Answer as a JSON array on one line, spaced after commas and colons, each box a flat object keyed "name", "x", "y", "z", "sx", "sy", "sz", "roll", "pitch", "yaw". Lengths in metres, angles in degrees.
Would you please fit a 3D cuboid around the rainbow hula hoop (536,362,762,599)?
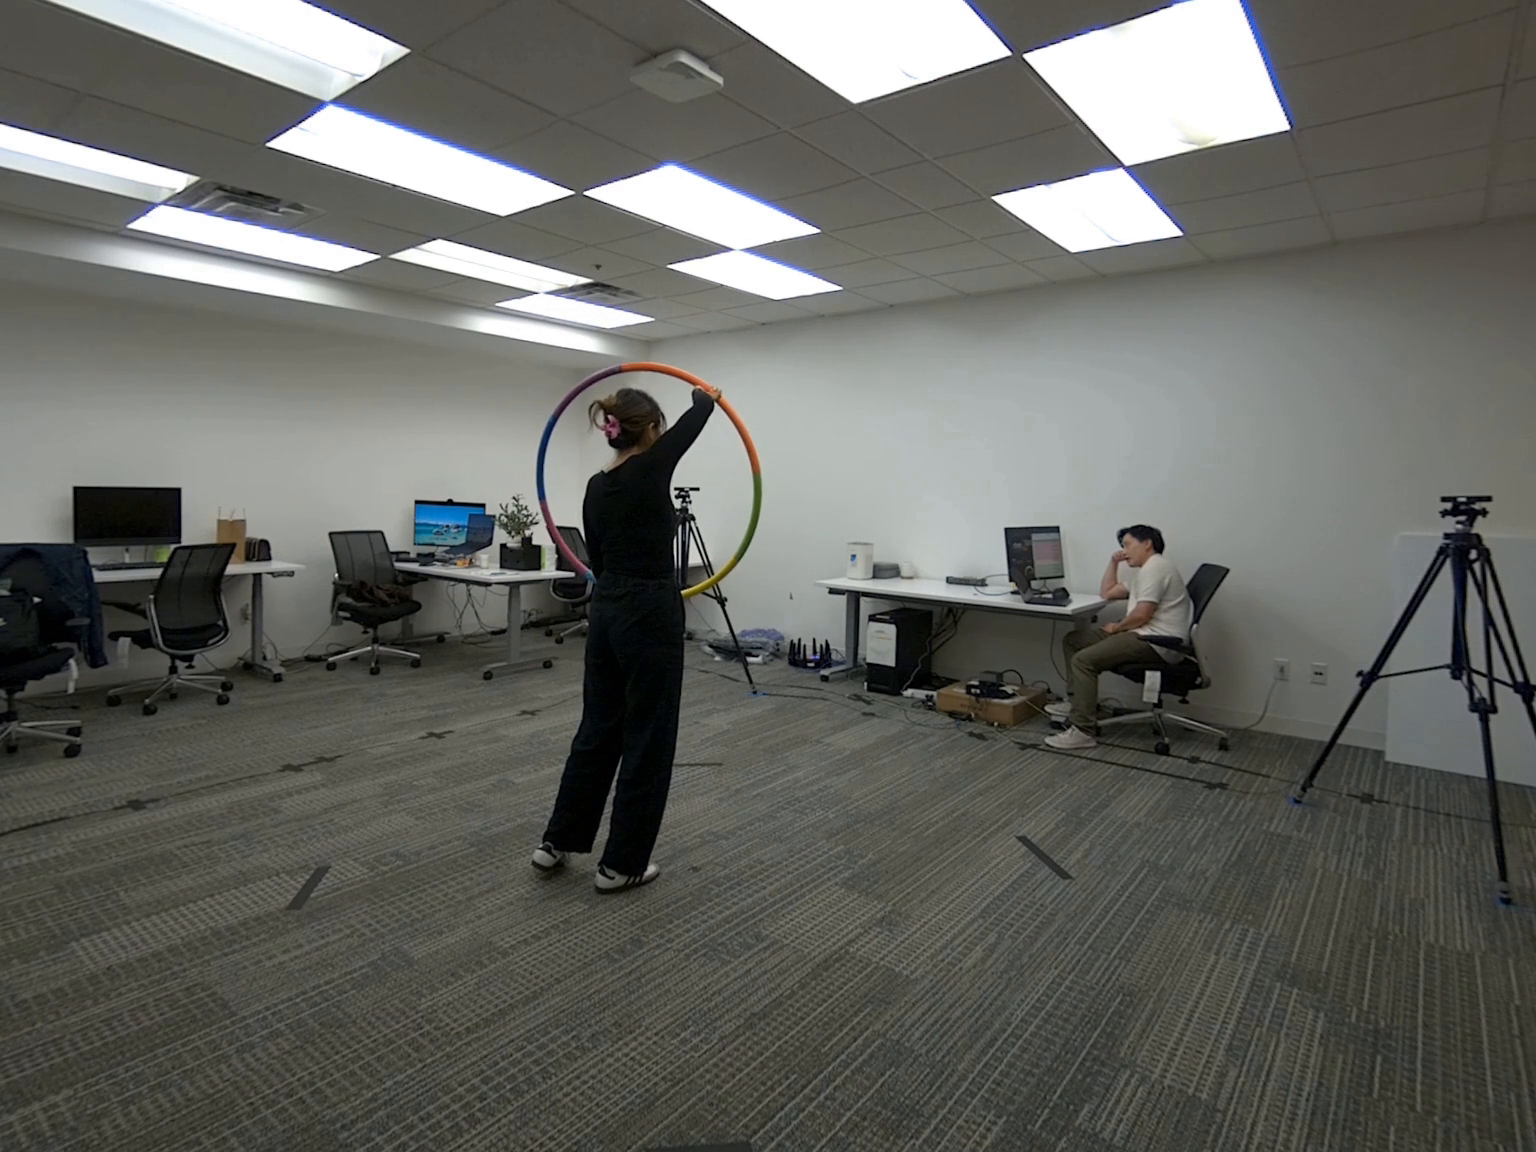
[{"name": "rainbow hula hoop", "x": -0.523, "y": -0.362, "z": 3.466, "sx": 1.002, "sy": 0.972, "sz": 0.051, "roll": 2, "pitch": 13, "yaw": 16}]
